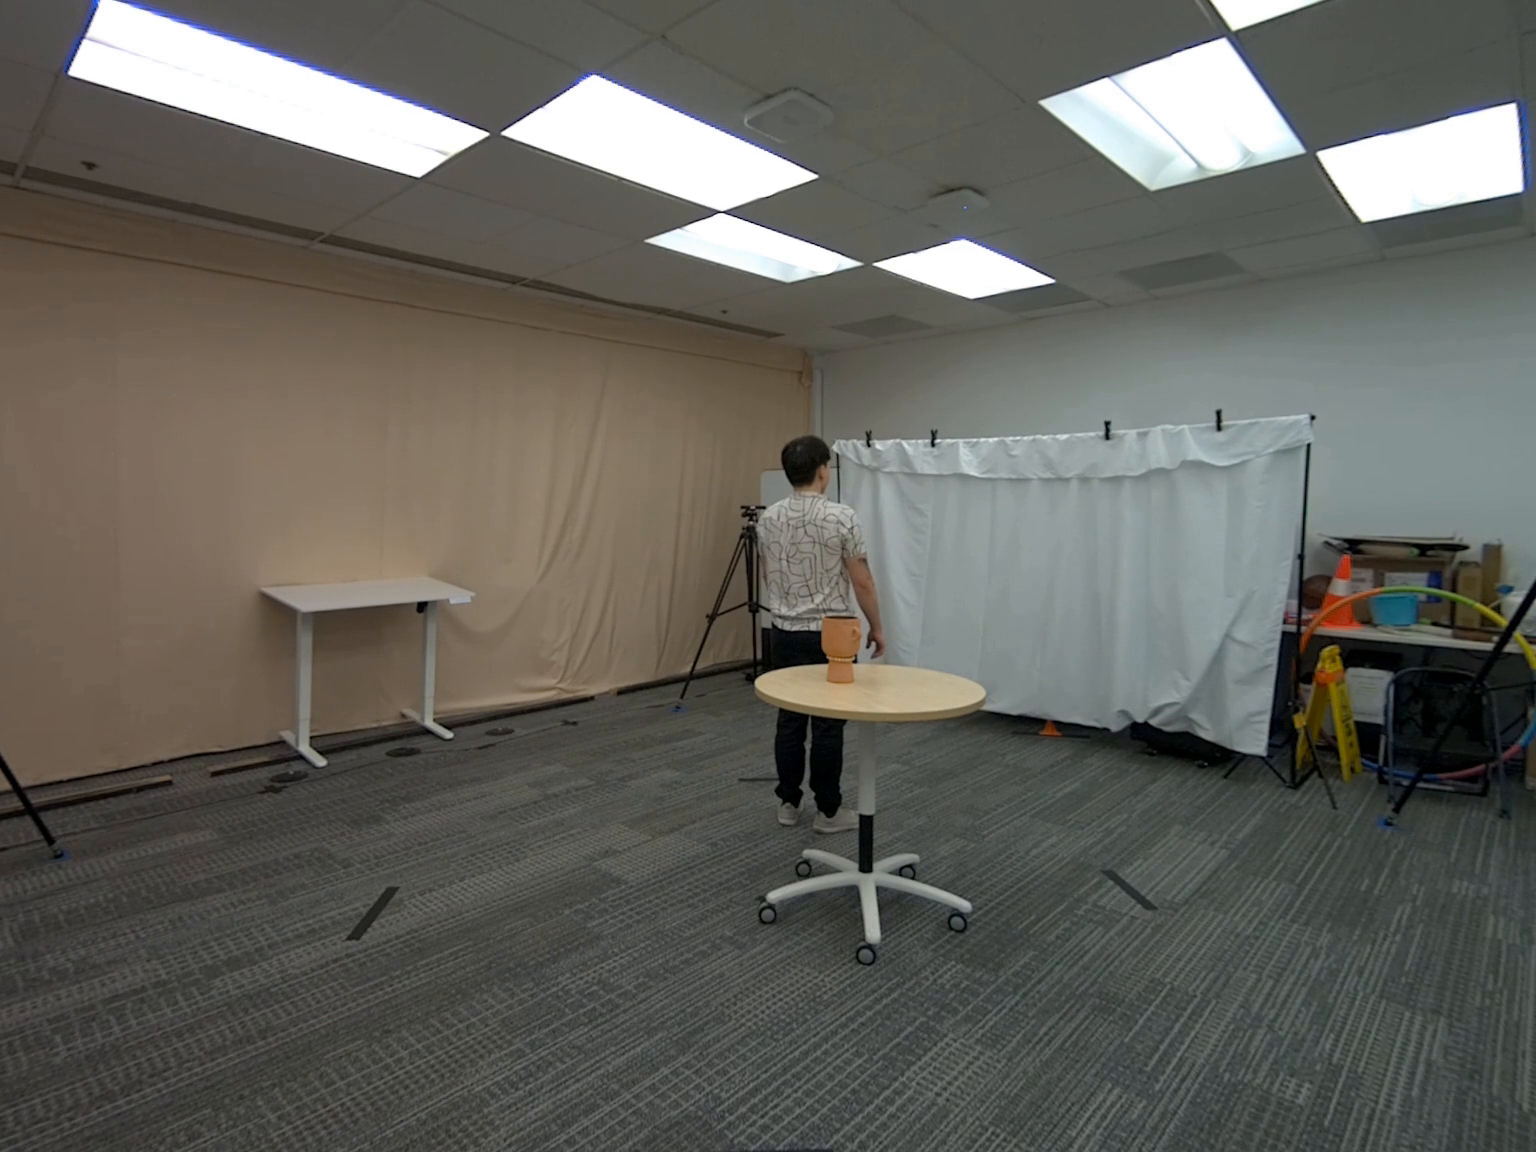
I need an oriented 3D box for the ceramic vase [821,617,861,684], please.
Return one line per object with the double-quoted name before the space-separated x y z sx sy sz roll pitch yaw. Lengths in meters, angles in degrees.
"ceramic vase" 0.254 0.255 2.916 0.136 0.219 0.158 1 4 6
